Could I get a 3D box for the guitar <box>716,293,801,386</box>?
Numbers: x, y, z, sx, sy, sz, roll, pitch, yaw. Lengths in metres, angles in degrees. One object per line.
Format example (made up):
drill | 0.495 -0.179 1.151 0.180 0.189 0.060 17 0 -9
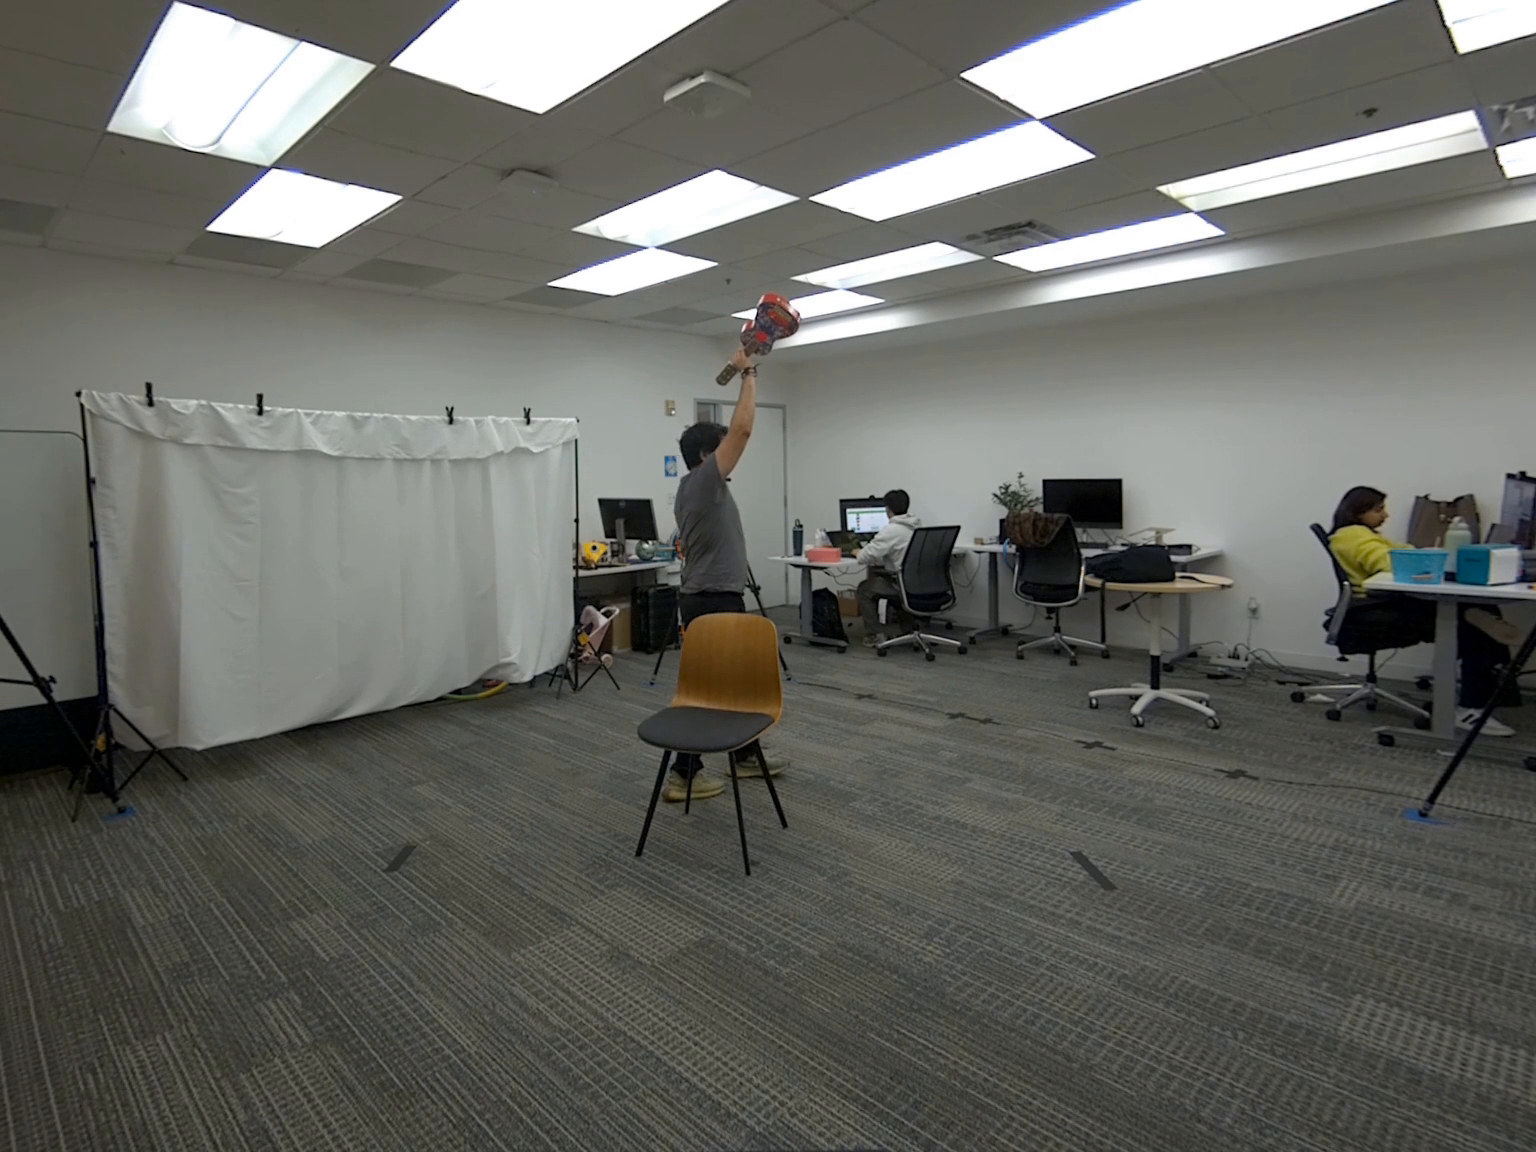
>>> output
guitar | -0.087 -1.001 3.624 0.187 0.072 0.503 40 -46 -25
